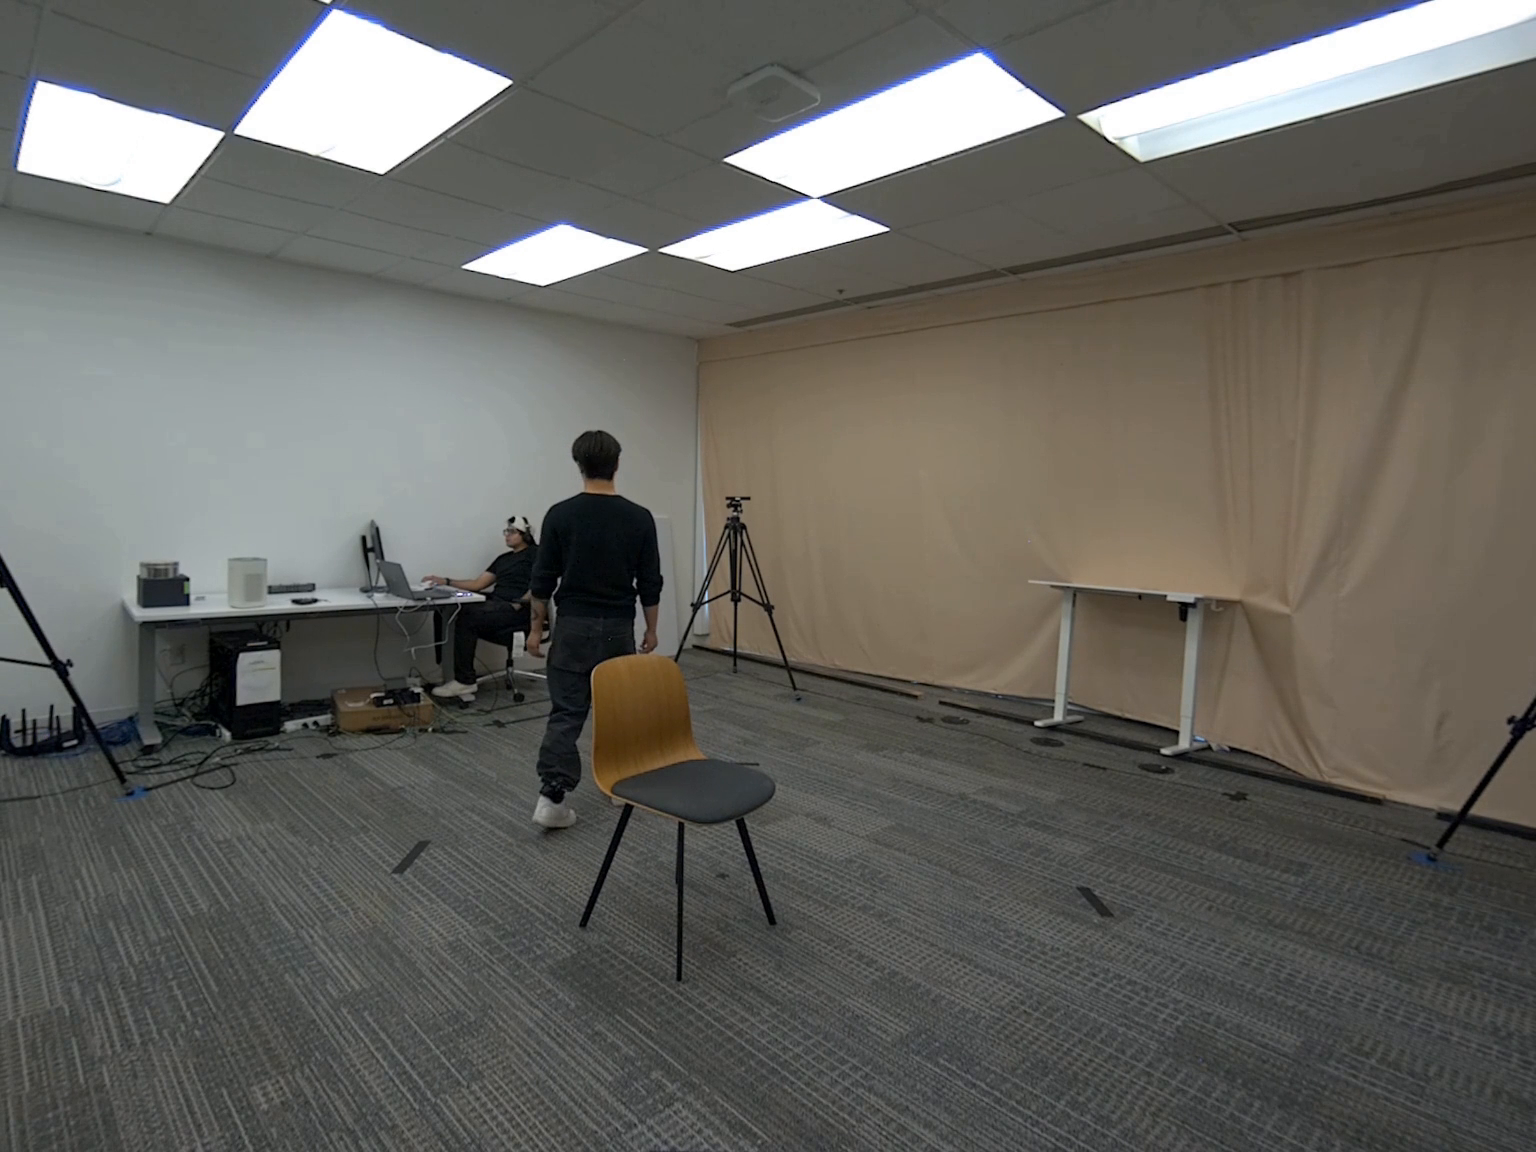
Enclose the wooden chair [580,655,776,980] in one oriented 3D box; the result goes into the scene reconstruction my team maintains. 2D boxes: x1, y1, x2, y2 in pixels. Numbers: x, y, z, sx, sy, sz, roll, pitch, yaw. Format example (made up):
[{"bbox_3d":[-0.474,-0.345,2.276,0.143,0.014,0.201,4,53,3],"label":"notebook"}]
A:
[{"bbox_3d":[-0.279,0.711,2.695,0.535,0.877,0.467,-2,1,40],"label":"wooden chair"}]
